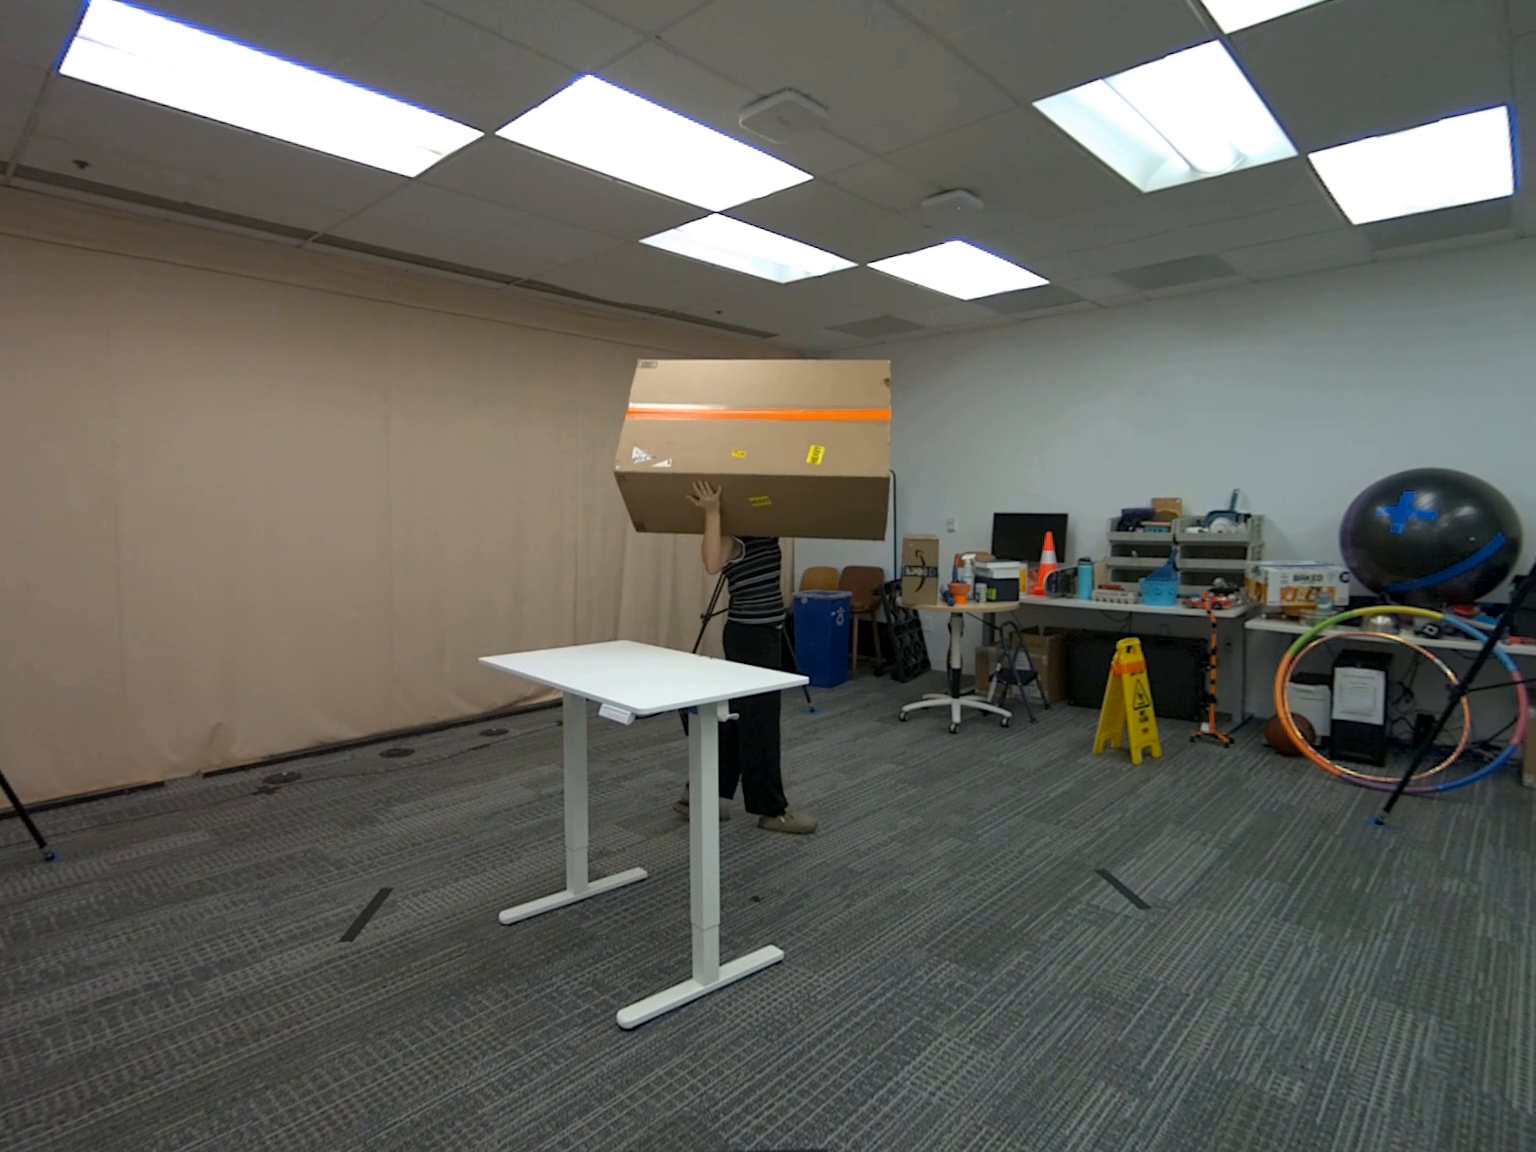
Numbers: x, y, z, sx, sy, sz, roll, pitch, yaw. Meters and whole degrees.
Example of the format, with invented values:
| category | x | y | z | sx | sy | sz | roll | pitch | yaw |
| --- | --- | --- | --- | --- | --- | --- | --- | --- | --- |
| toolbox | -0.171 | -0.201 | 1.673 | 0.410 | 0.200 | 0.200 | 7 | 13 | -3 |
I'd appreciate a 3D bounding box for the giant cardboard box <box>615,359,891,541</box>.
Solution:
| category | x | y | z | sx | sy | sz | roll | pitch | yaw |
| --- | --- | --- | --- | --- | --- | --- | --- | --- | --- |
| giant cardboard box | -0.033 | -0.506 | 3.382 | 1.037 | 0.585 | 0.416 | 2 | -31 | 9 |
